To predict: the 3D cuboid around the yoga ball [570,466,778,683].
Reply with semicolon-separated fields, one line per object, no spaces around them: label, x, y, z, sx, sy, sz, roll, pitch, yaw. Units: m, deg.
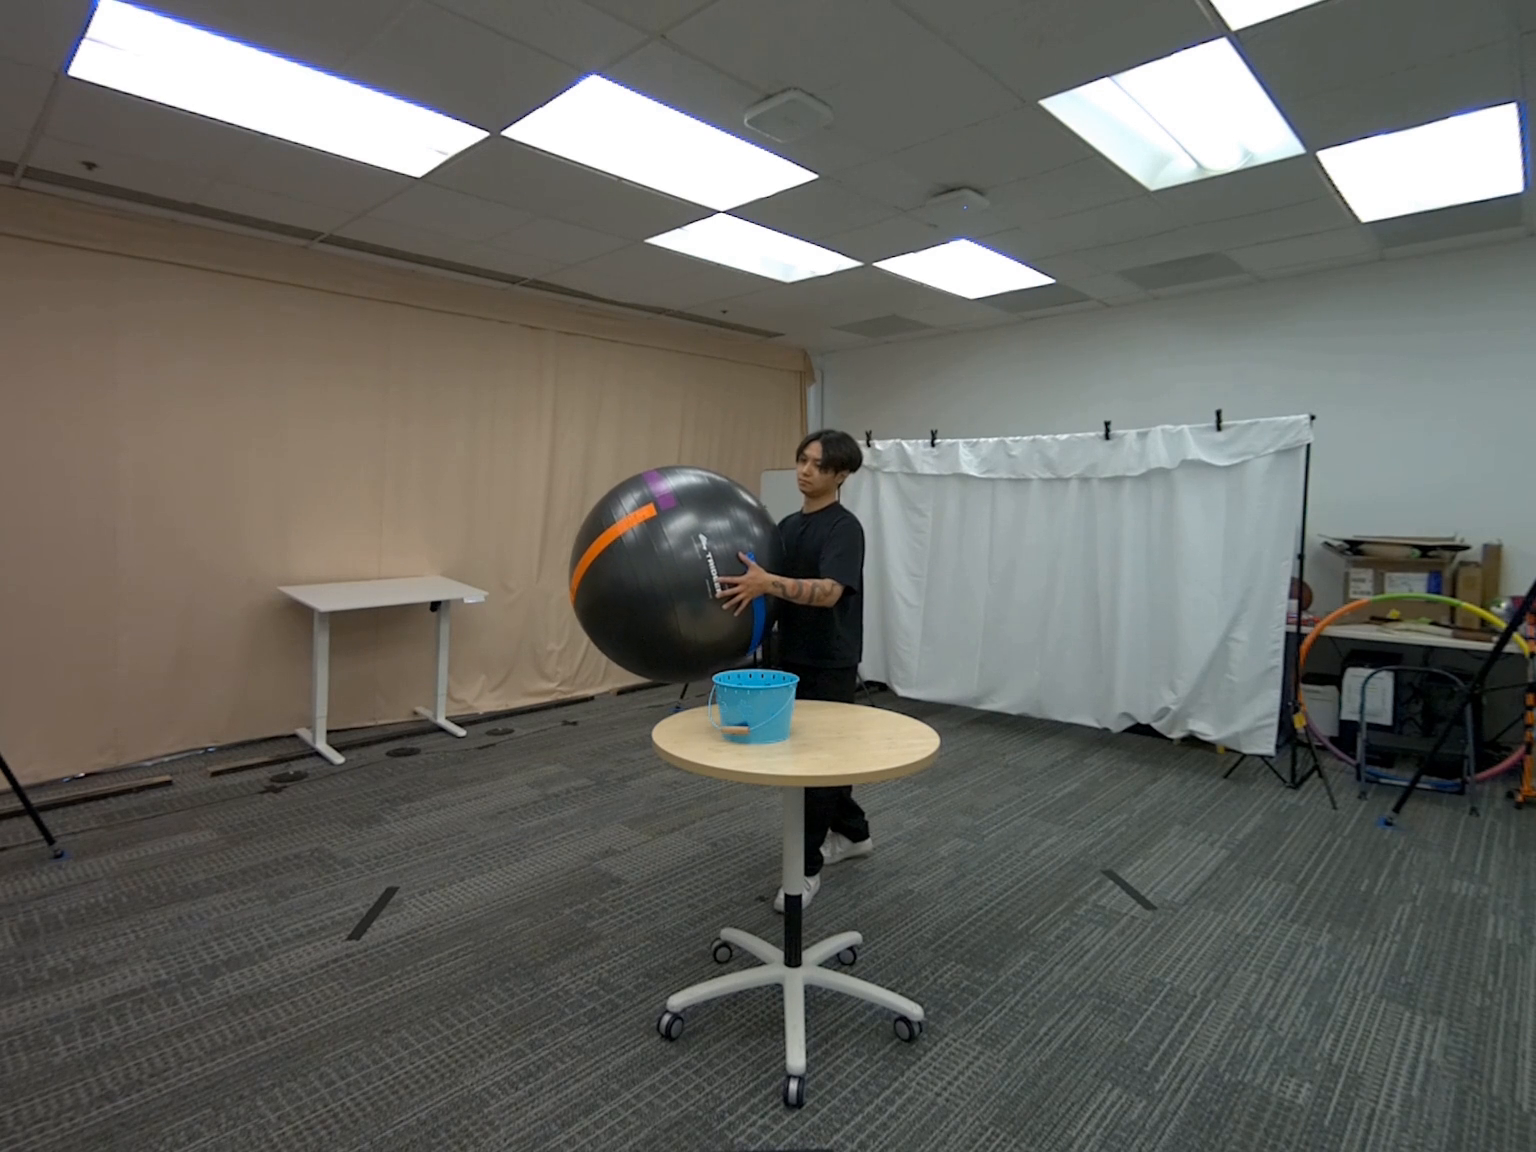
yoga ball;-0.316;-0.003;2.965;0.757;0.756;0.760;0;4;-2
